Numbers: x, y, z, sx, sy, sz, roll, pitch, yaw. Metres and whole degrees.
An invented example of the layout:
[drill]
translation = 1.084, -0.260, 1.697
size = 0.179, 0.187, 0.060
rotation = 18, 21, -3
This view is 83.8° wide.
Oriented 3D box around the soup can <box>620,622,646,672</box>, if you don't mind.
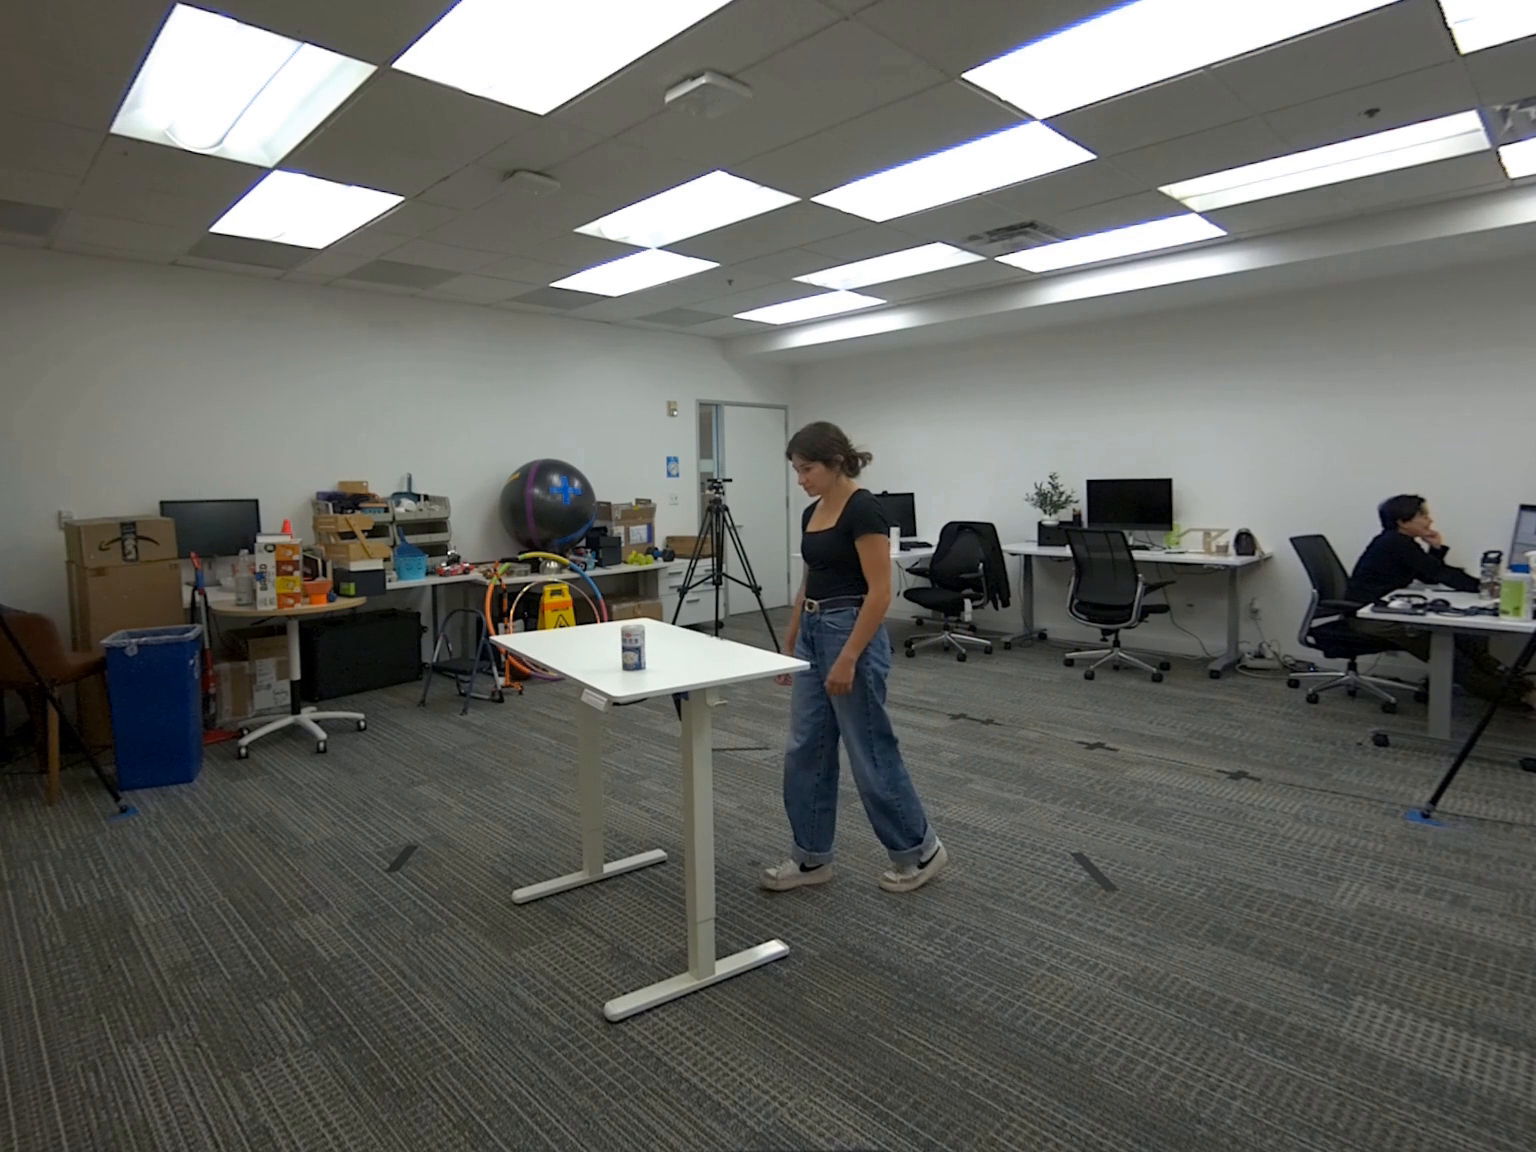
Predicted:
[soup can]
translation = -0.365, 0.201, 2.344
size = 0.067, 0.121, 0.067
rotation = -1, 7, -2
